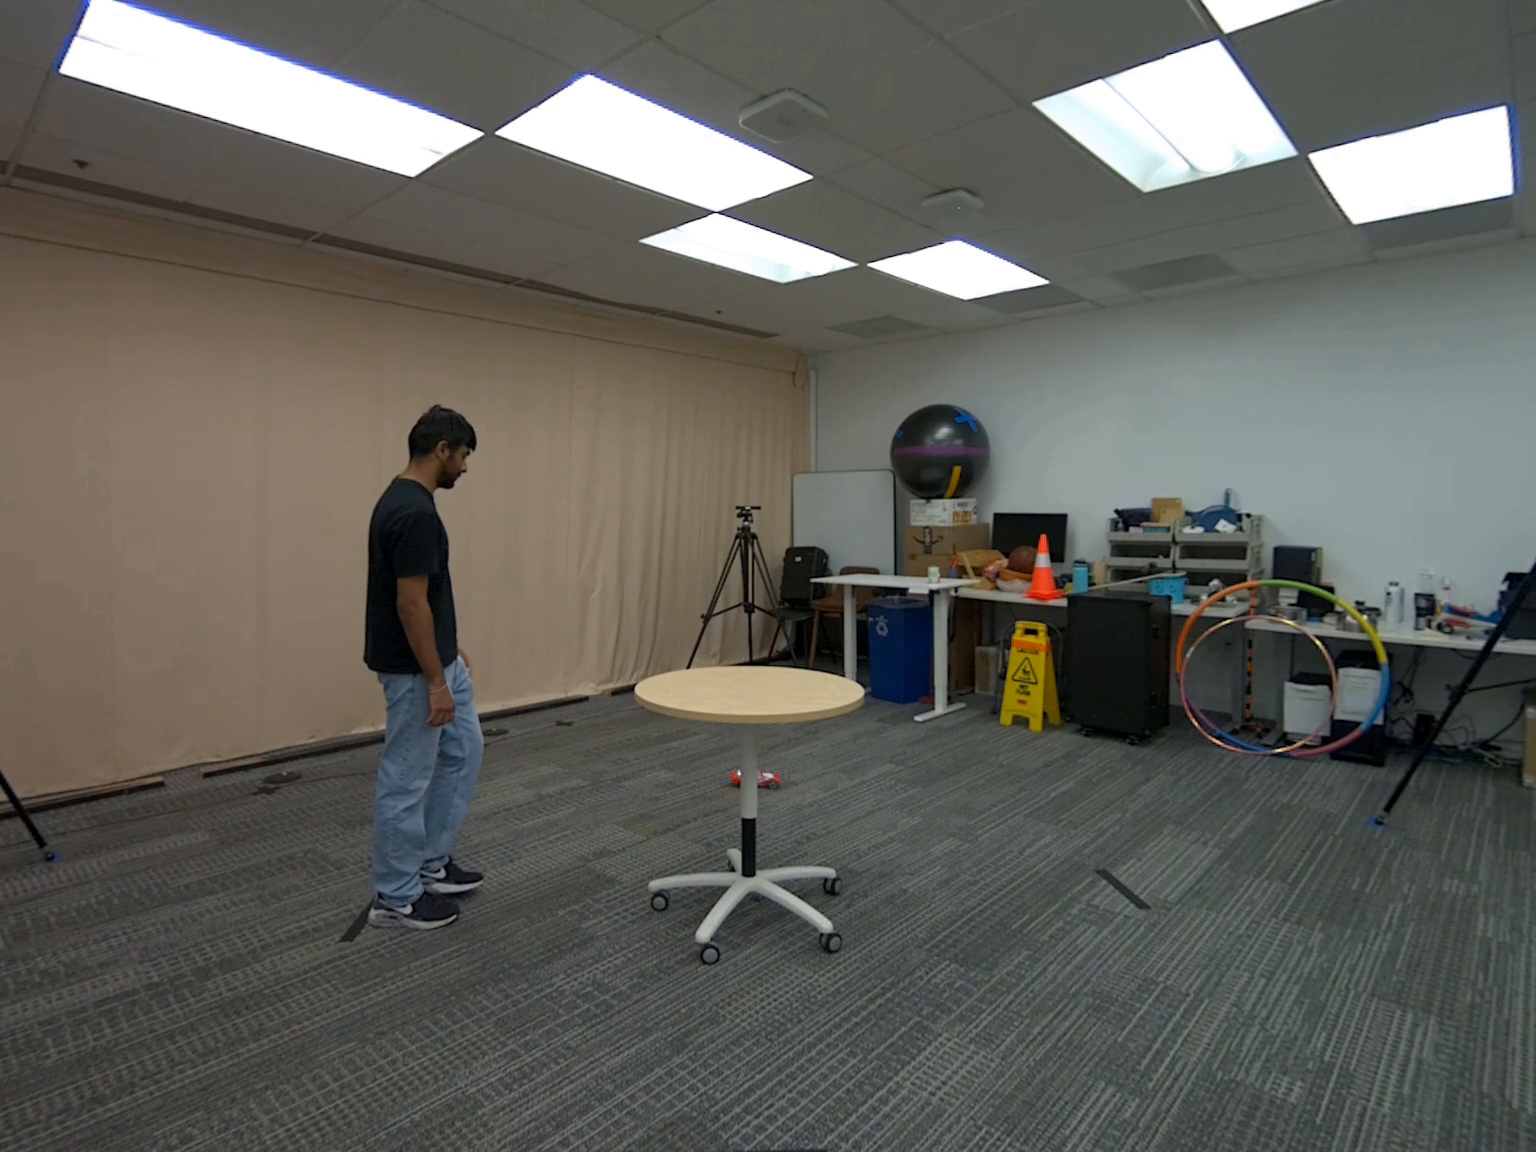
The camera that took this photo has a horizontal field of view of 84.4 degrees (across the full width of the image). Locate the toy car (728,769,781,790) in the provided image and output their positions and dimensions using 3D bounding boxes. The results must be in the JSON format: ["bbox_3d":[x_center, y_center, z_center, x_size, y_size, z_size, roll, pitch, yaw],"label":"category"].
[{"bbox_3d":[-0.070,1.015,4.215,0.256,0.083,0.130,11,5,5],"label":"toy car"}]
